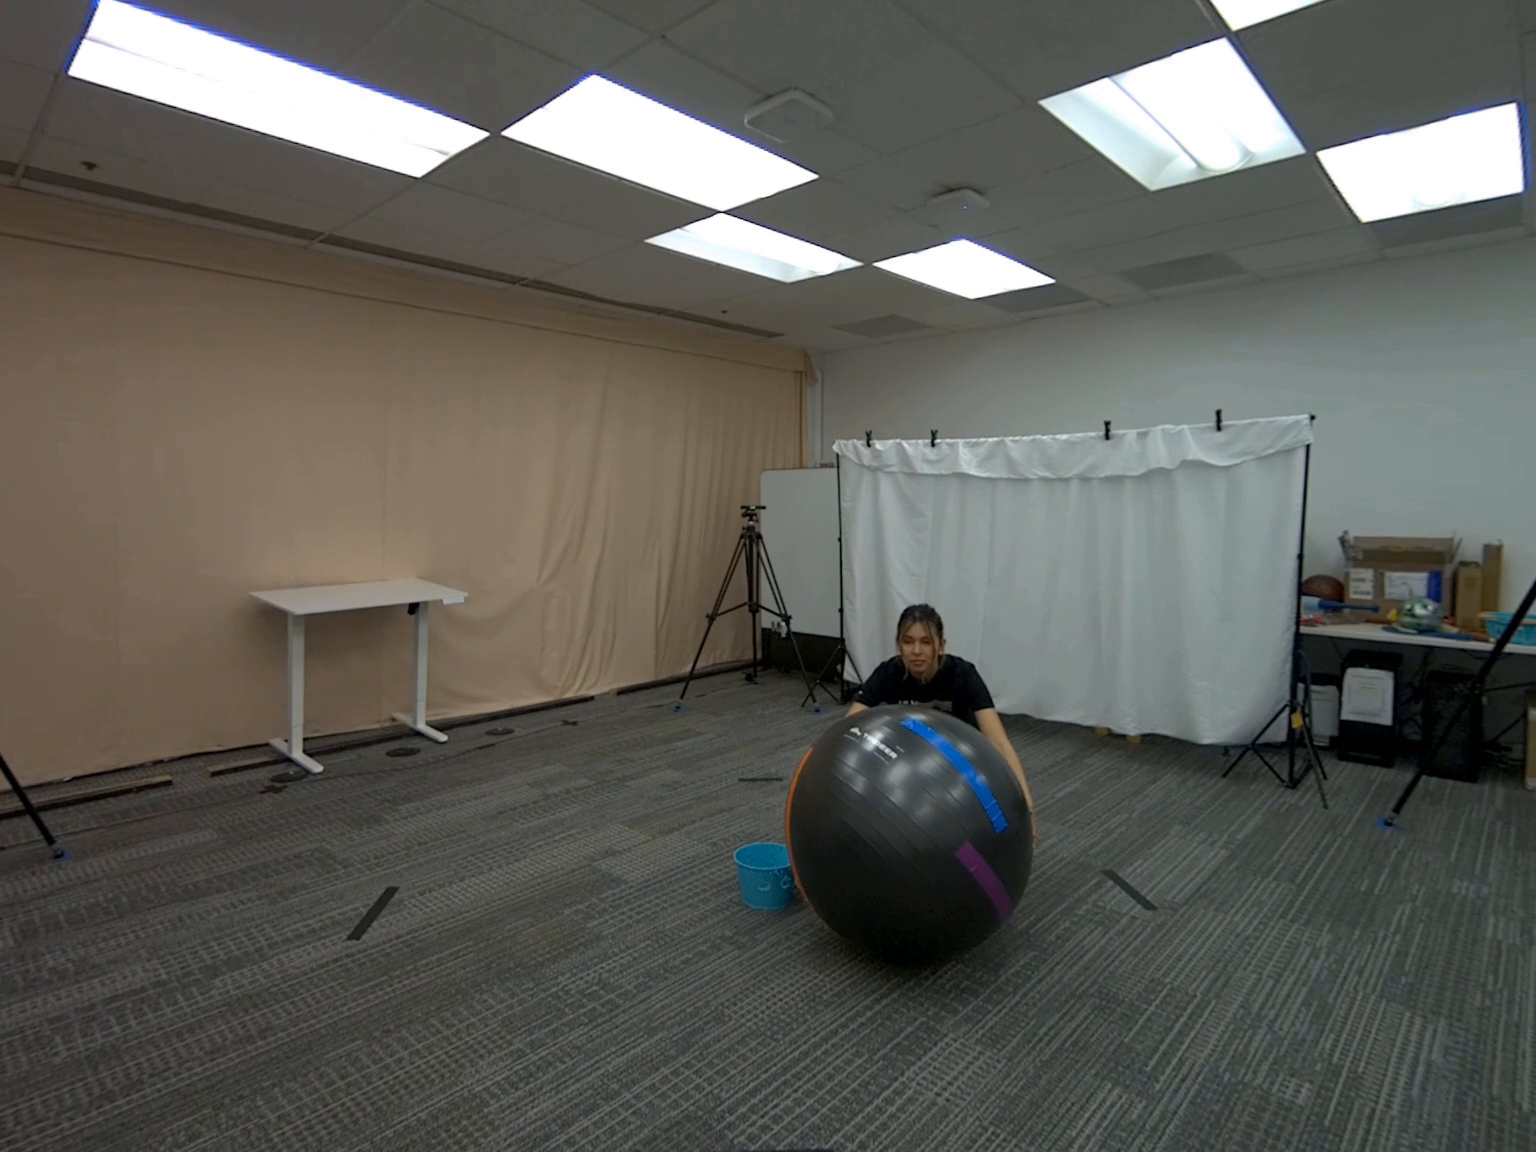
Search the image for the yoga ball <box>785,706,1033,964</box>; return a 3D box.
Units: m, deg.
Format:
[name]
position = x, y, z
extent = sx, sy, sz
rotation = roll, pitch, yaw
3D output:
[yoga ball]
position = 0.430, 0.790, 2.633
extent = 0.757, 0.756, 0.760
rotation = 0, 4, -2
